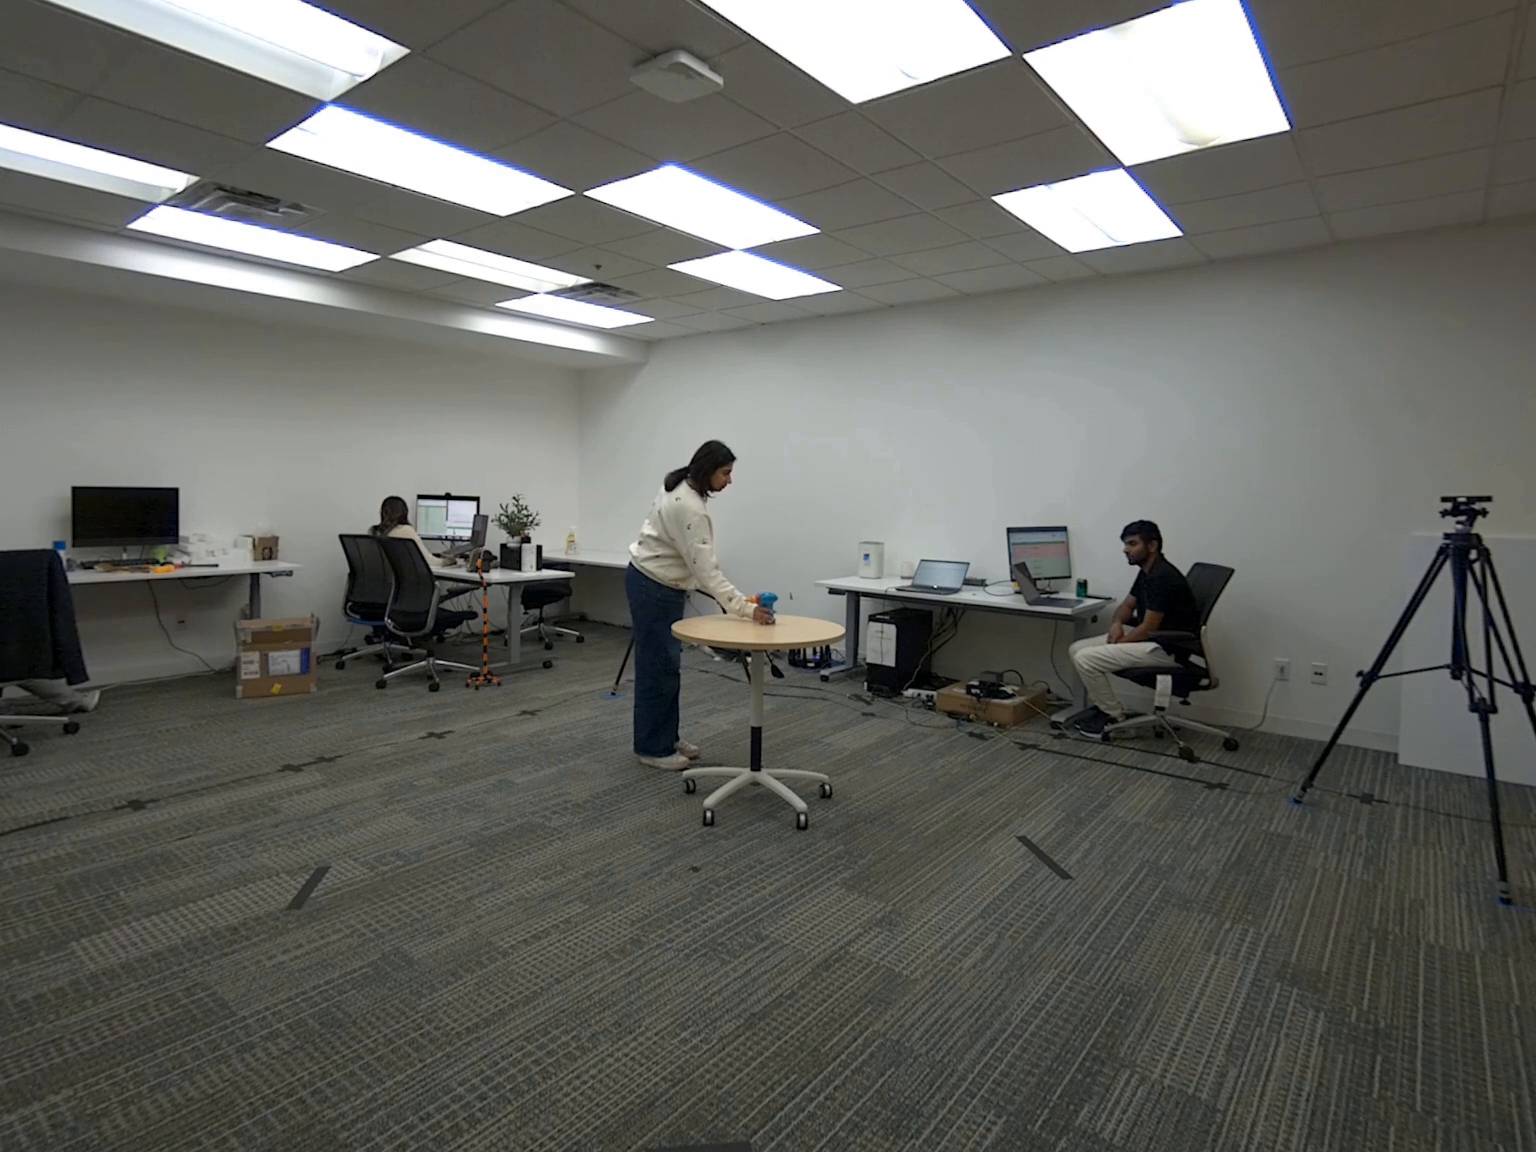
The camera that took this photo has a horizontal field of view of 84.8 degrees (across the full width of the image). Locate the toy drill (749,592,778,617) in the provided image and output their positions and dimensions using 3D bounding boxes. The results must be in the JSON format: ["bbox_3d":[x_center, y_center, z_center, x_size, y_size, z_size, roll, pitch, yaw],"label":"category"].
[{"bbox_3d":[-0.042,0.141,3.844,0.166,0.145,0.063,-2,5,-22],"label":"toy drill"}]
